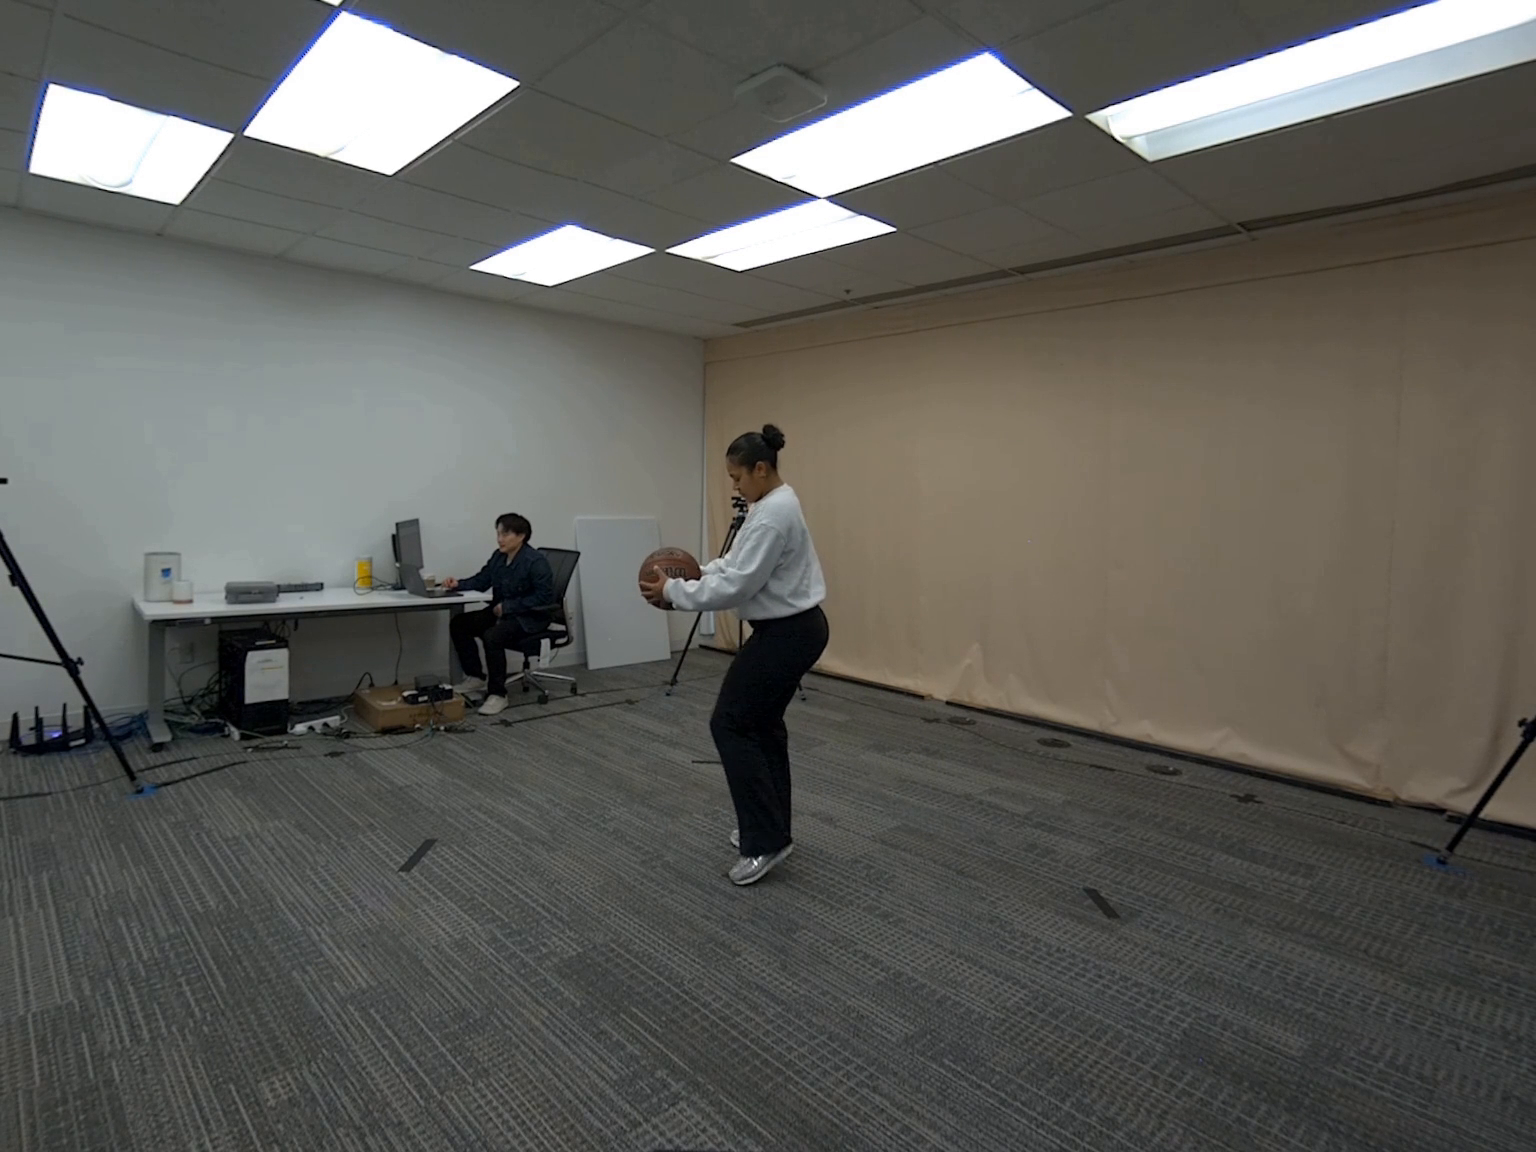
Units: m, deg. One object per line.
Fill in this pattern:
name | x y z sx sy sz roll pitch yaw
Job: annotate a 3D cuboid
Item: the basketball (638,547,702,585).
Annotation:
basketball | -0.366 0.020 3.173 0.236 0.235 0.237 1 4 -1
